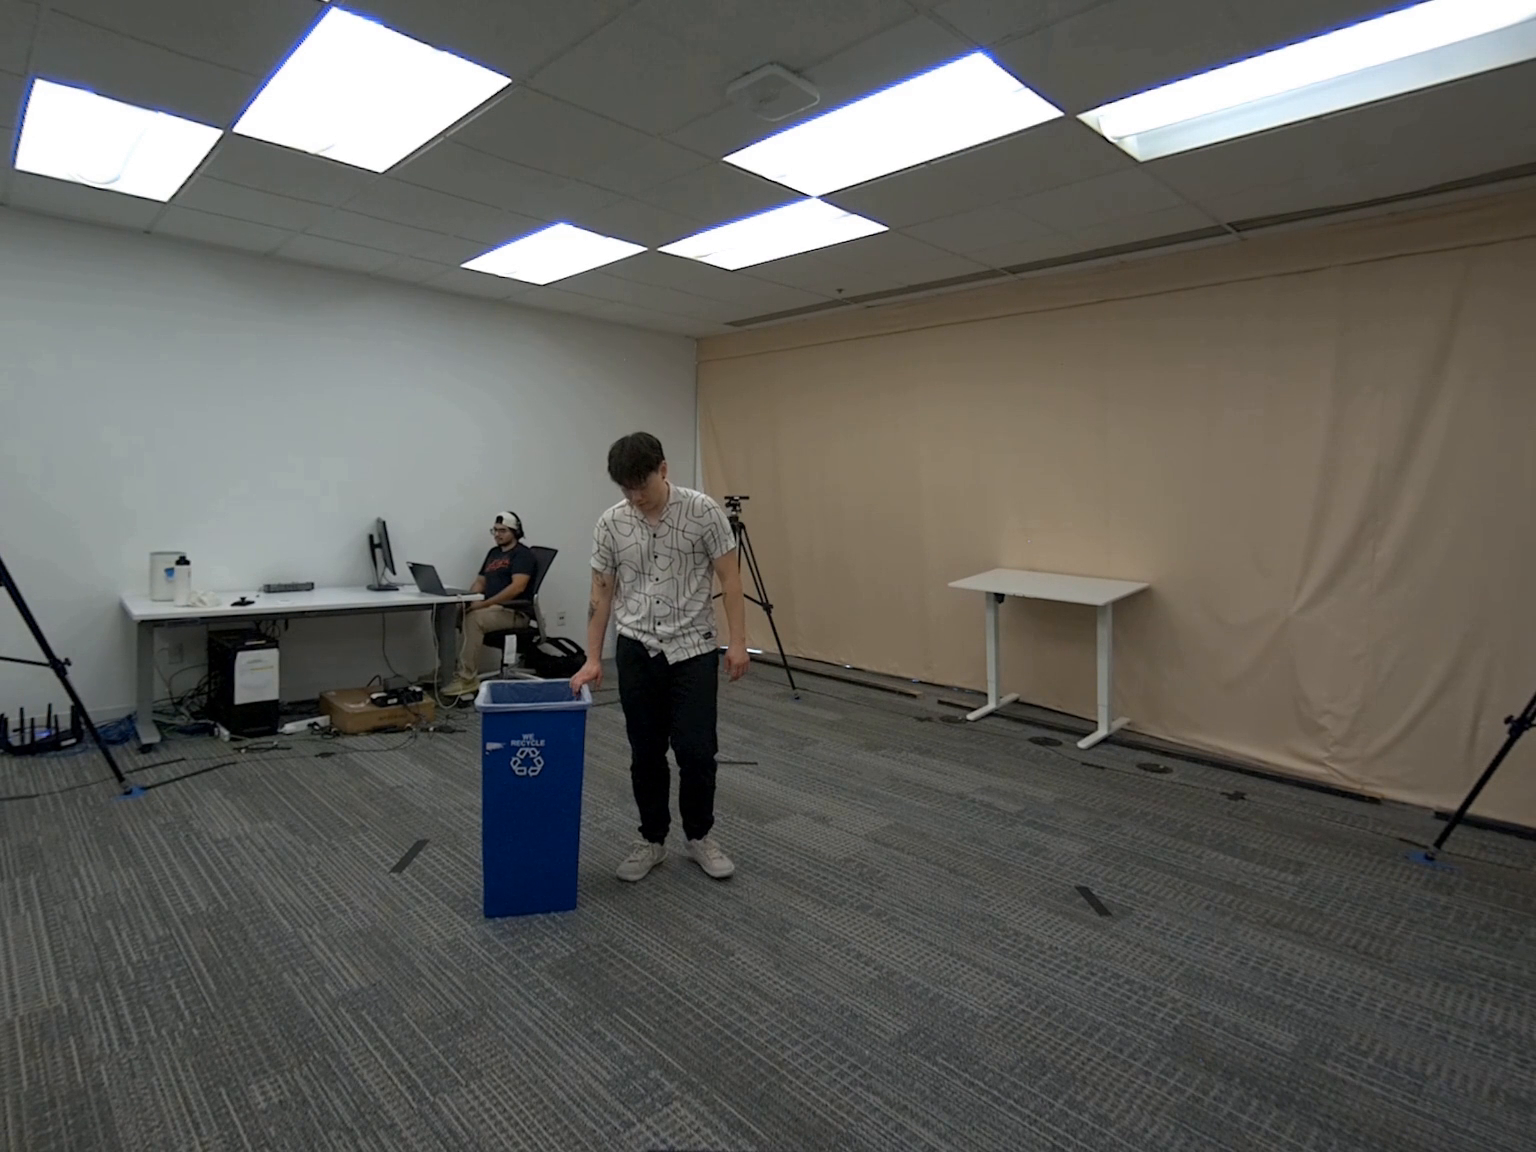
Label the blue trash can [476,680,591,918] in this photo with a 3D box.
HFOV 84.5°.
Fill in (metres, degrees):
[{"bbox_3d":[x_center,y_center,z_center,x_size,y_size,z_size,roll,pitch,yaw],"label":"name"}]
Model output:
[{"bbox_3d":[-0.817,0.751,2.906,0.369,0.712,0.384,1,4,-16],"label":"blue trash can"}]
